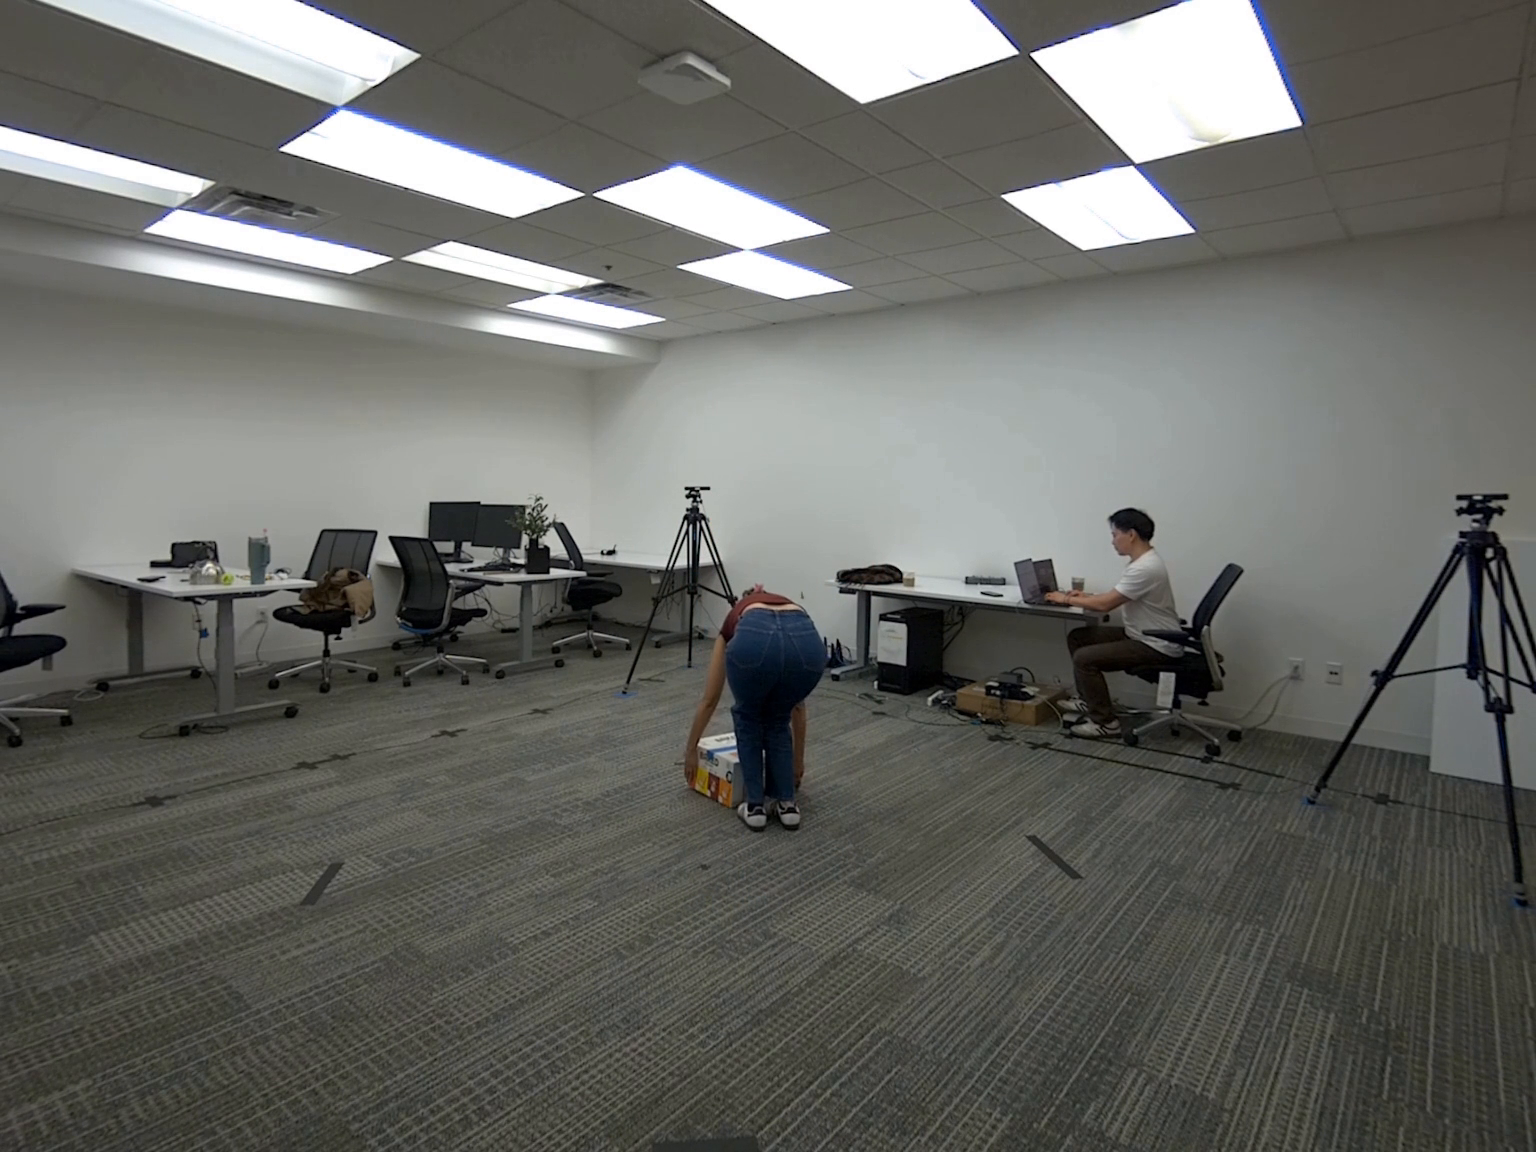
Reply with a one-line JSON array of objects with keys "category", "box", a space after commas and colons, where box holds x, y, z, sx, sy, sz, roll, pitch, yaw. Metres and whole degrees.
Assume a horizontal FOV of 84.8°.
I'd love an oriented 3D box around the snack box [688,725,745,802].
[{"category": "snack box", "box": [-0.118, 0.857, 3.941, 0.393, 0.205, 0.352, -3, 8, -41]}]
